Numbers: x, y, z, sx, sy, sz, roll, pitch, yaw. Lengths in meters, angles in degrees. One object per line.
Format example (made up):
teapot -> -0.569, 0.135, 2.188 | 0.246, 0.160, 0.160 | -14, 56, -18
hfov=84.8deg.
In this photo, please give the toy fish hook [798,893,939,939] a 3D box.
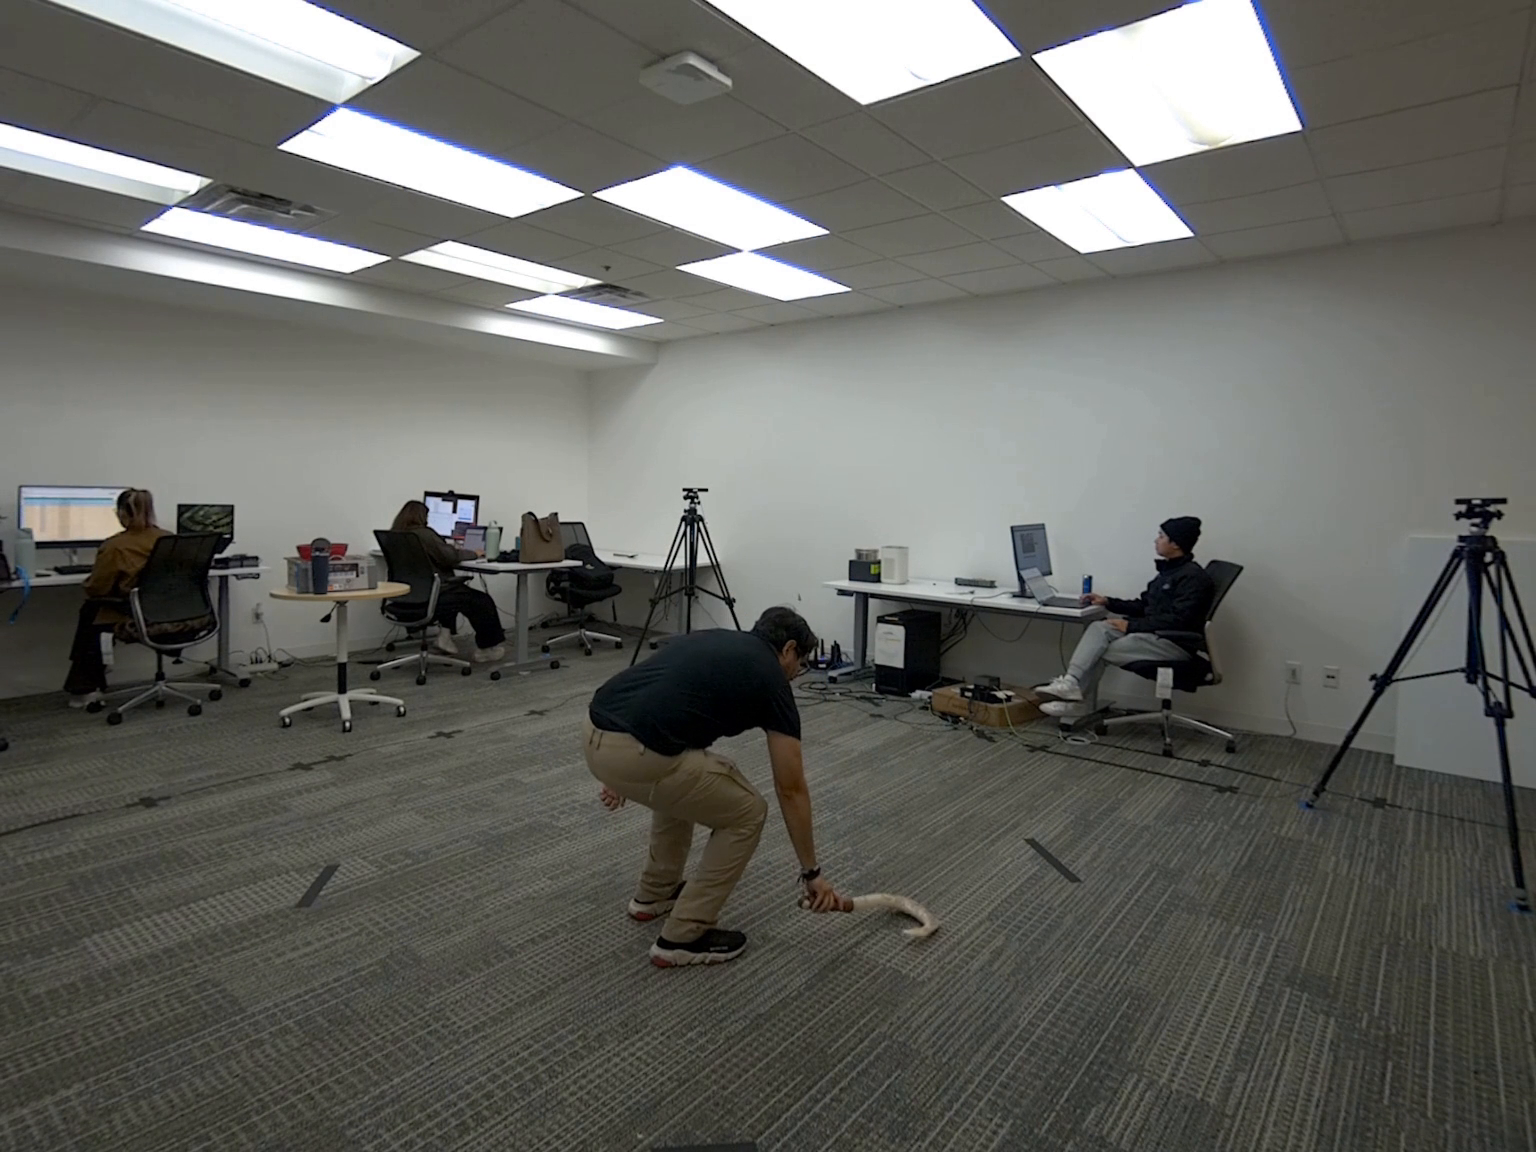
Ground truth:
toy fish hook -> 0.327, 1.056, 2.666 | 0.491, 0.048, 0.231 | 13, -1, -28
